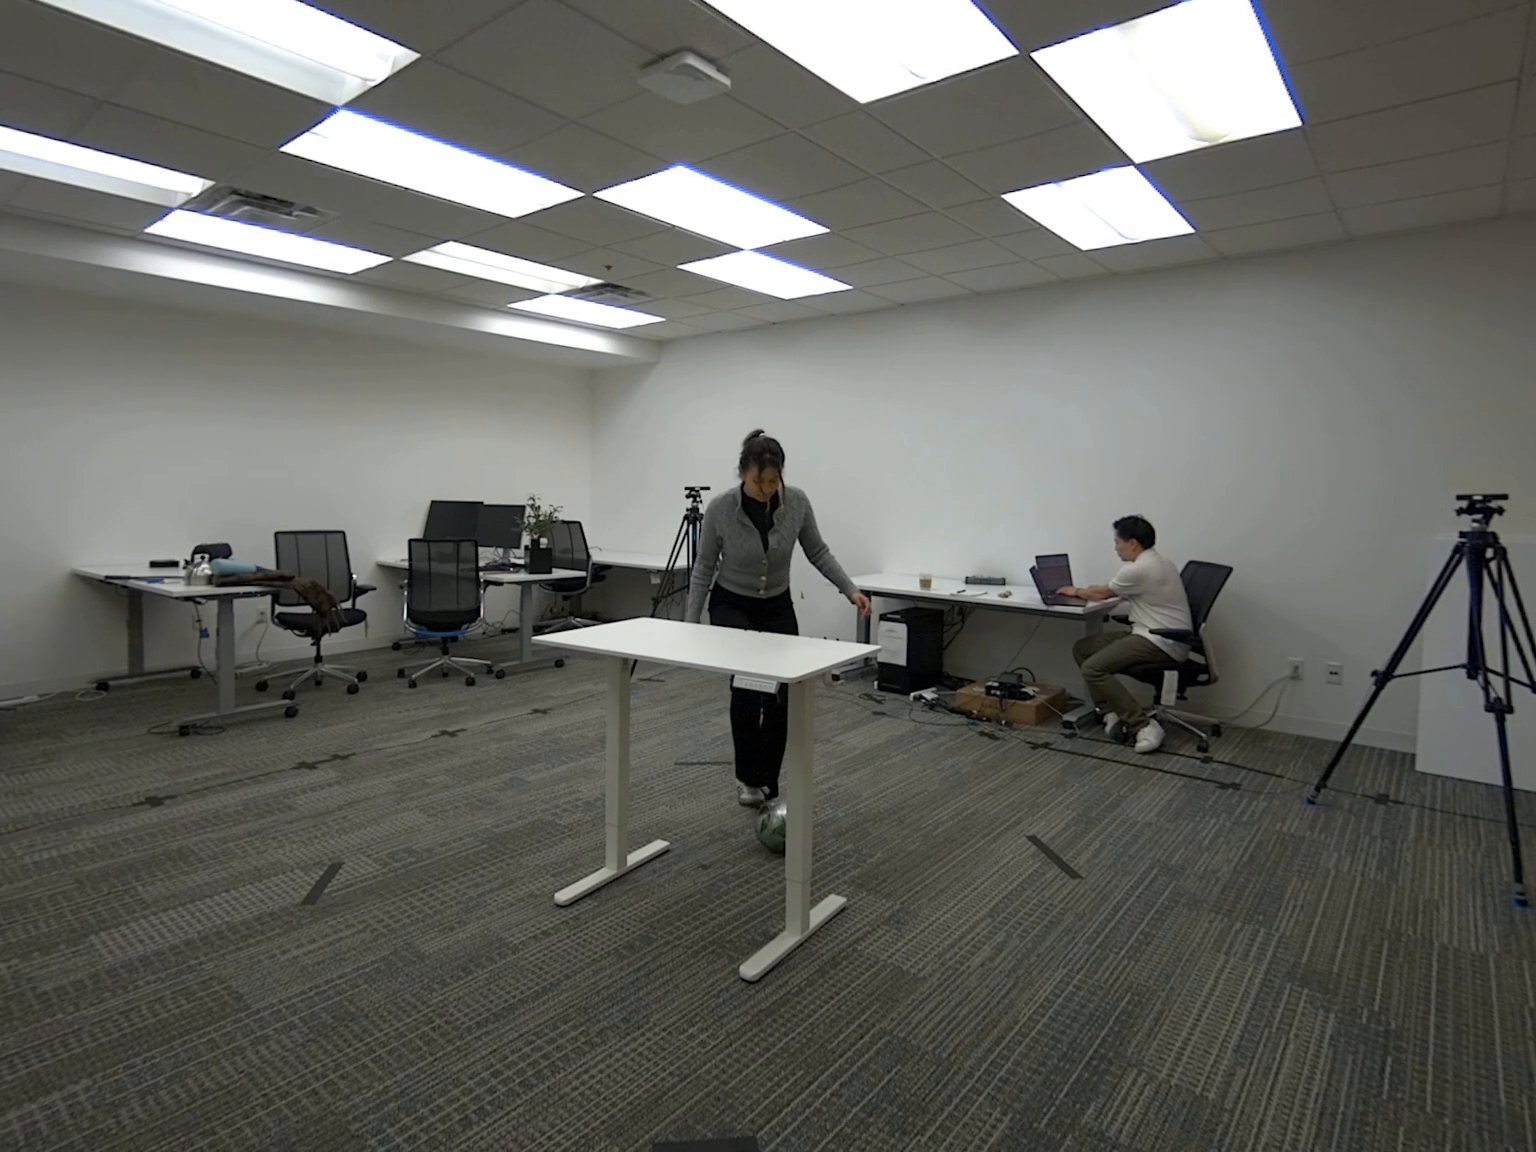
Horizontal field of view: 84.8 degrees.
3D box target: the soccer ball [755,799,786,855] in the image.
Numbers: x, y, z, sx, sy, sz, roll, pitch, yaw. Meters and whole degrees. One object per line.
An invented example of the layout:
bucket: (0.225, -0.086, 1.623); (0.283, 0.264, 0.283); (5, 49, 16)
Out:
soccer ball: (0.038, 0.953, 3.275); (0.187, 0.187, 0.188); (0, 4, -2)
